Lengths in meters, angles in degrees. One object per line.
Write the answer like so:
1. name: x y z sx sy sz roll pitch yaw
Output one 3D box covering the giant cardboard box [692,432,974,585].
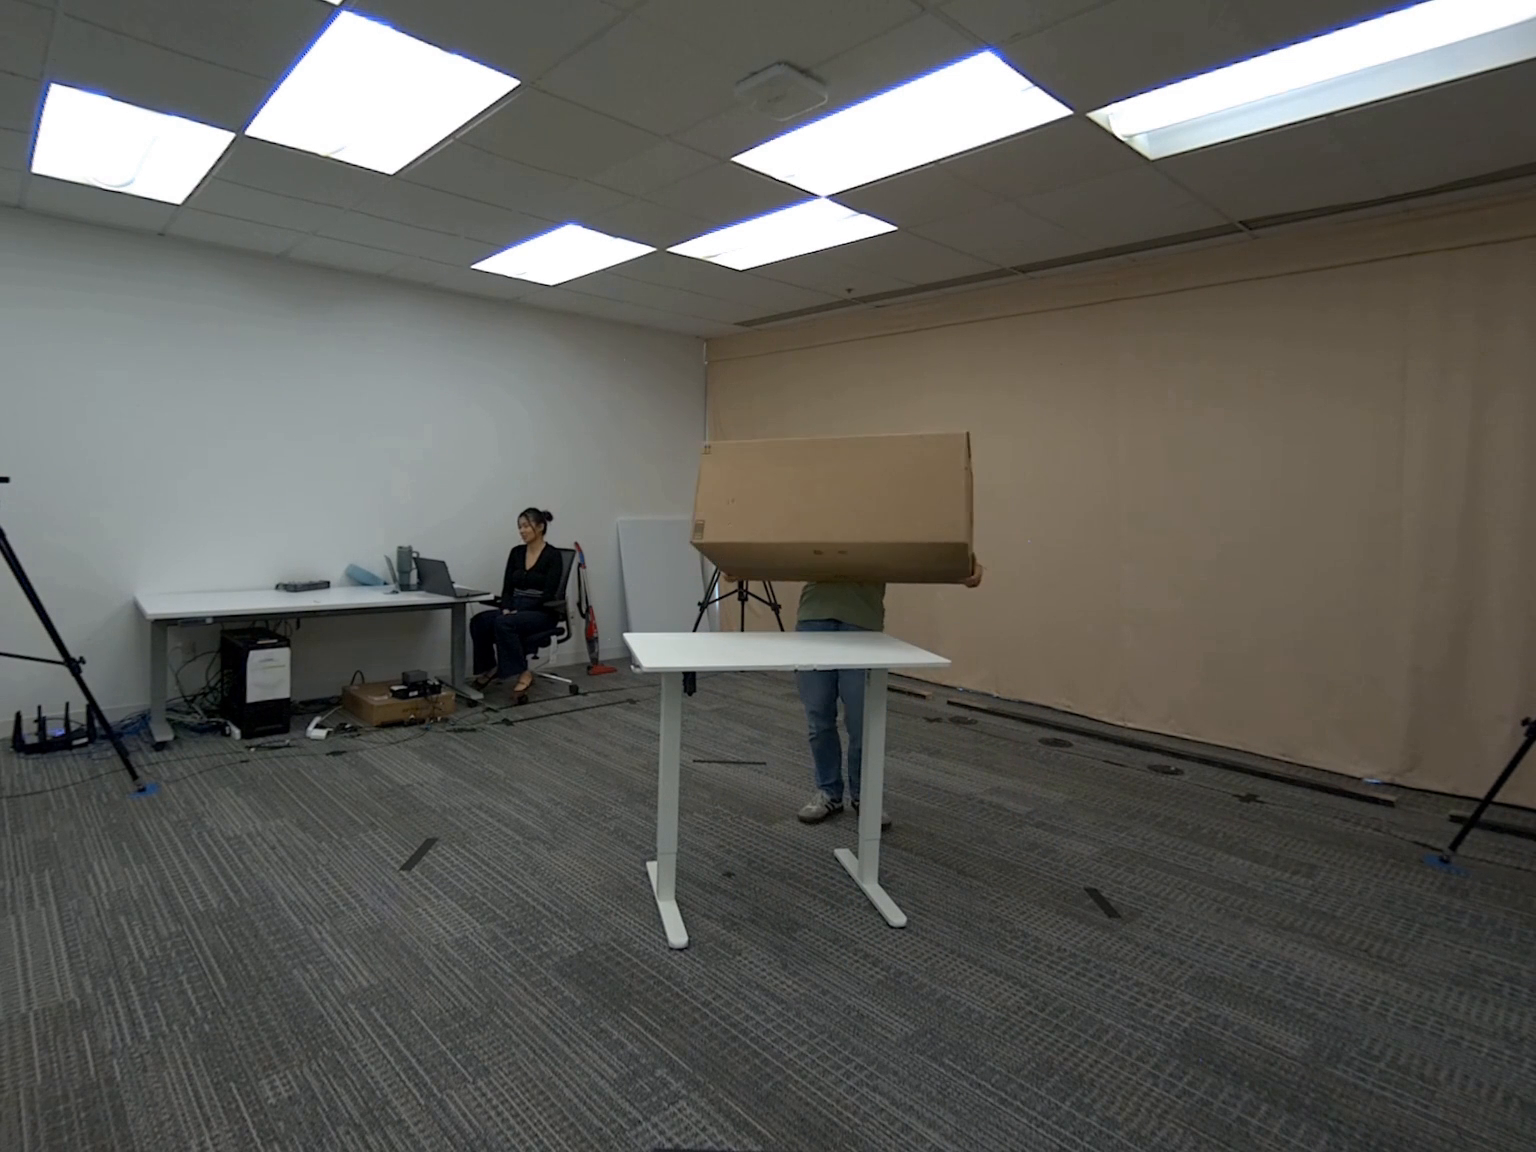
1. giant cardboard box: 0.283 -0.257 3.363 1.040 0.430 0.563 1 -16 18
